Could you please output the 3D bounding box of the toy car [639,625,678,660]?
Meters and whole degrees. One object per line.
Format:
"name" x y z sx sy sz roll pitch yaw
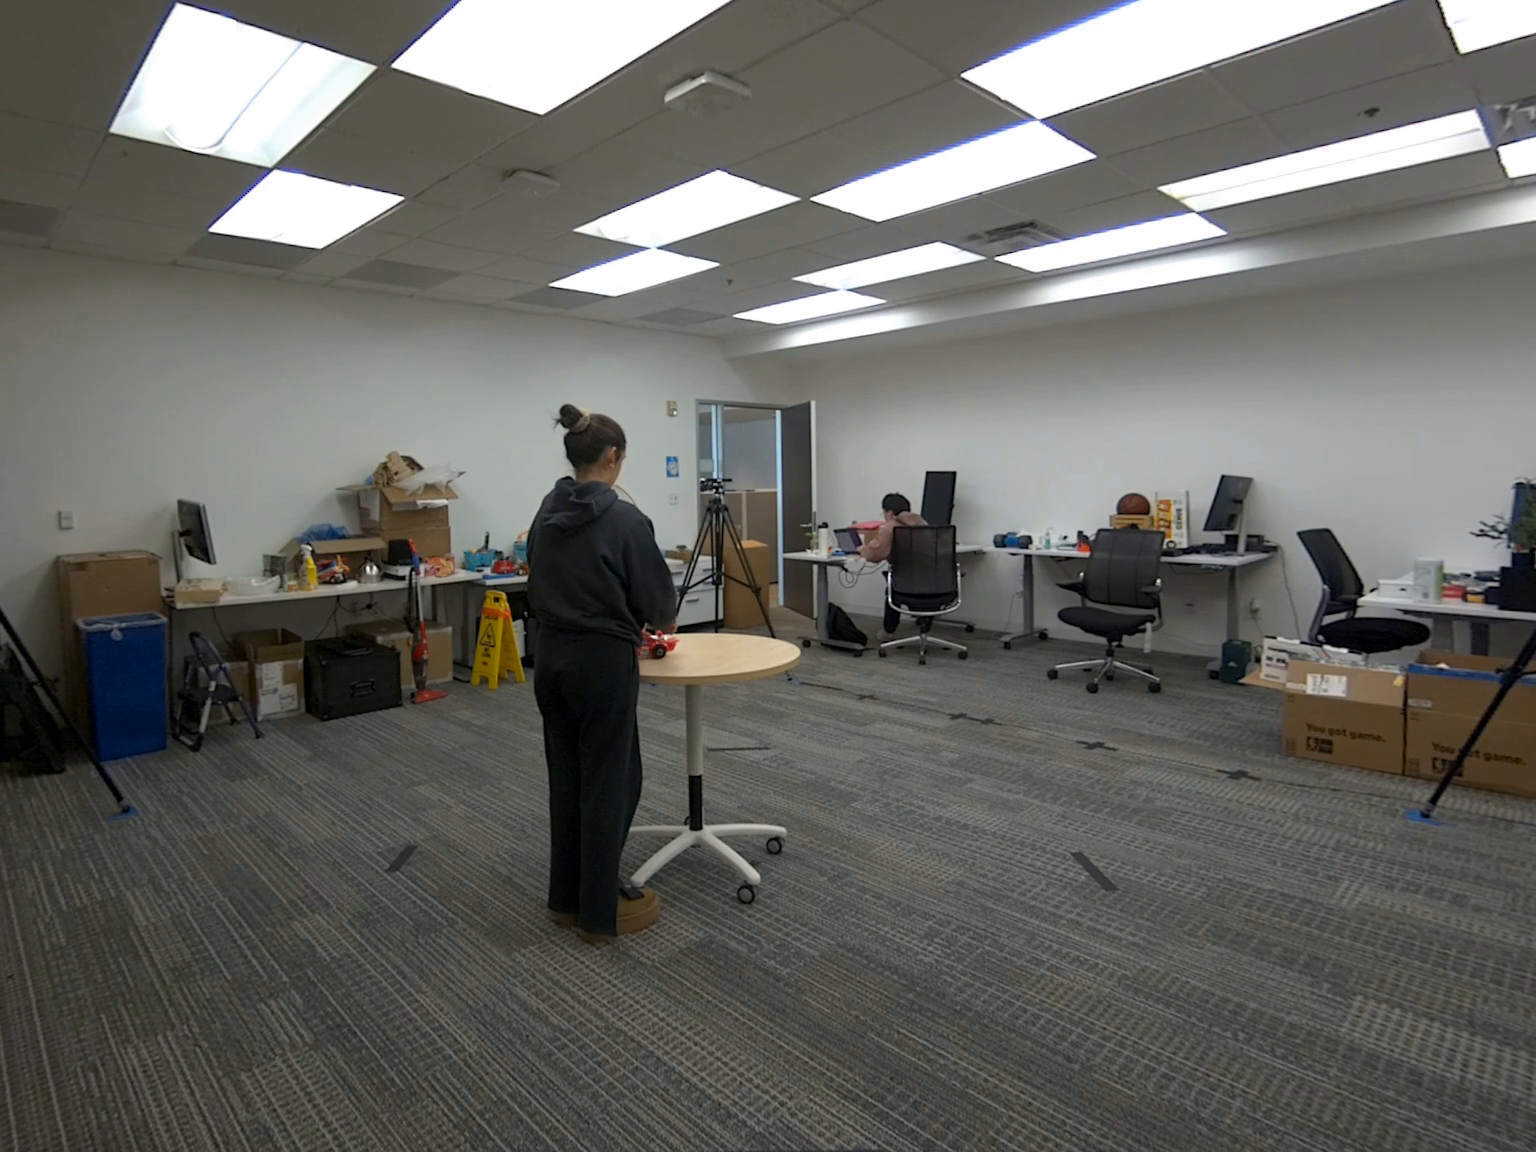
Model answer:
"toy car" -0.432 0.252 2.968 0.252 0.082 0.132 -15 8 -12
